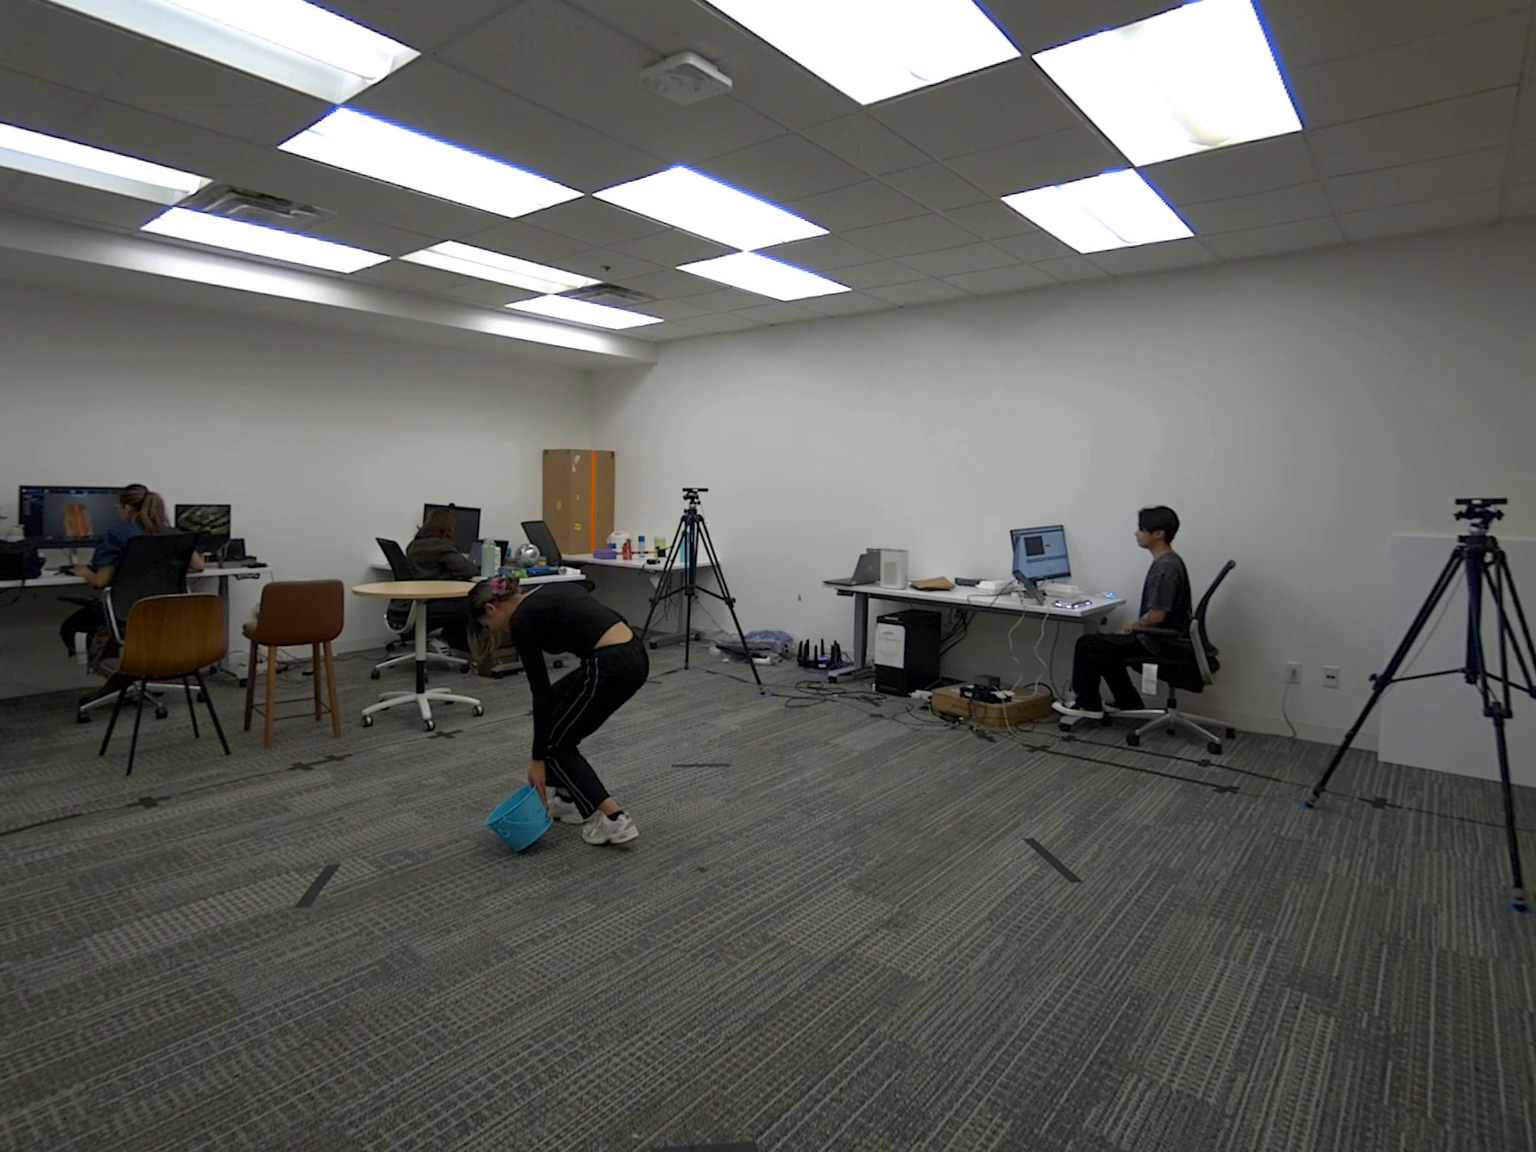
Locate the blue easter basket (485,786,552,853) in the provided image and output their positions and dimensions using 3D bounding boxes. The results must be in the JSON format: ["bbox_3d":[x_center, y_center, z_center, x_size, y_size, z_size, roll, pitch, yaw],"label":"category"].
[{"bbox_3d":[-0.969,0.931,3.257,0.244,0.155,0.245,-33,6,1],"label":"blue easter basket"}]
